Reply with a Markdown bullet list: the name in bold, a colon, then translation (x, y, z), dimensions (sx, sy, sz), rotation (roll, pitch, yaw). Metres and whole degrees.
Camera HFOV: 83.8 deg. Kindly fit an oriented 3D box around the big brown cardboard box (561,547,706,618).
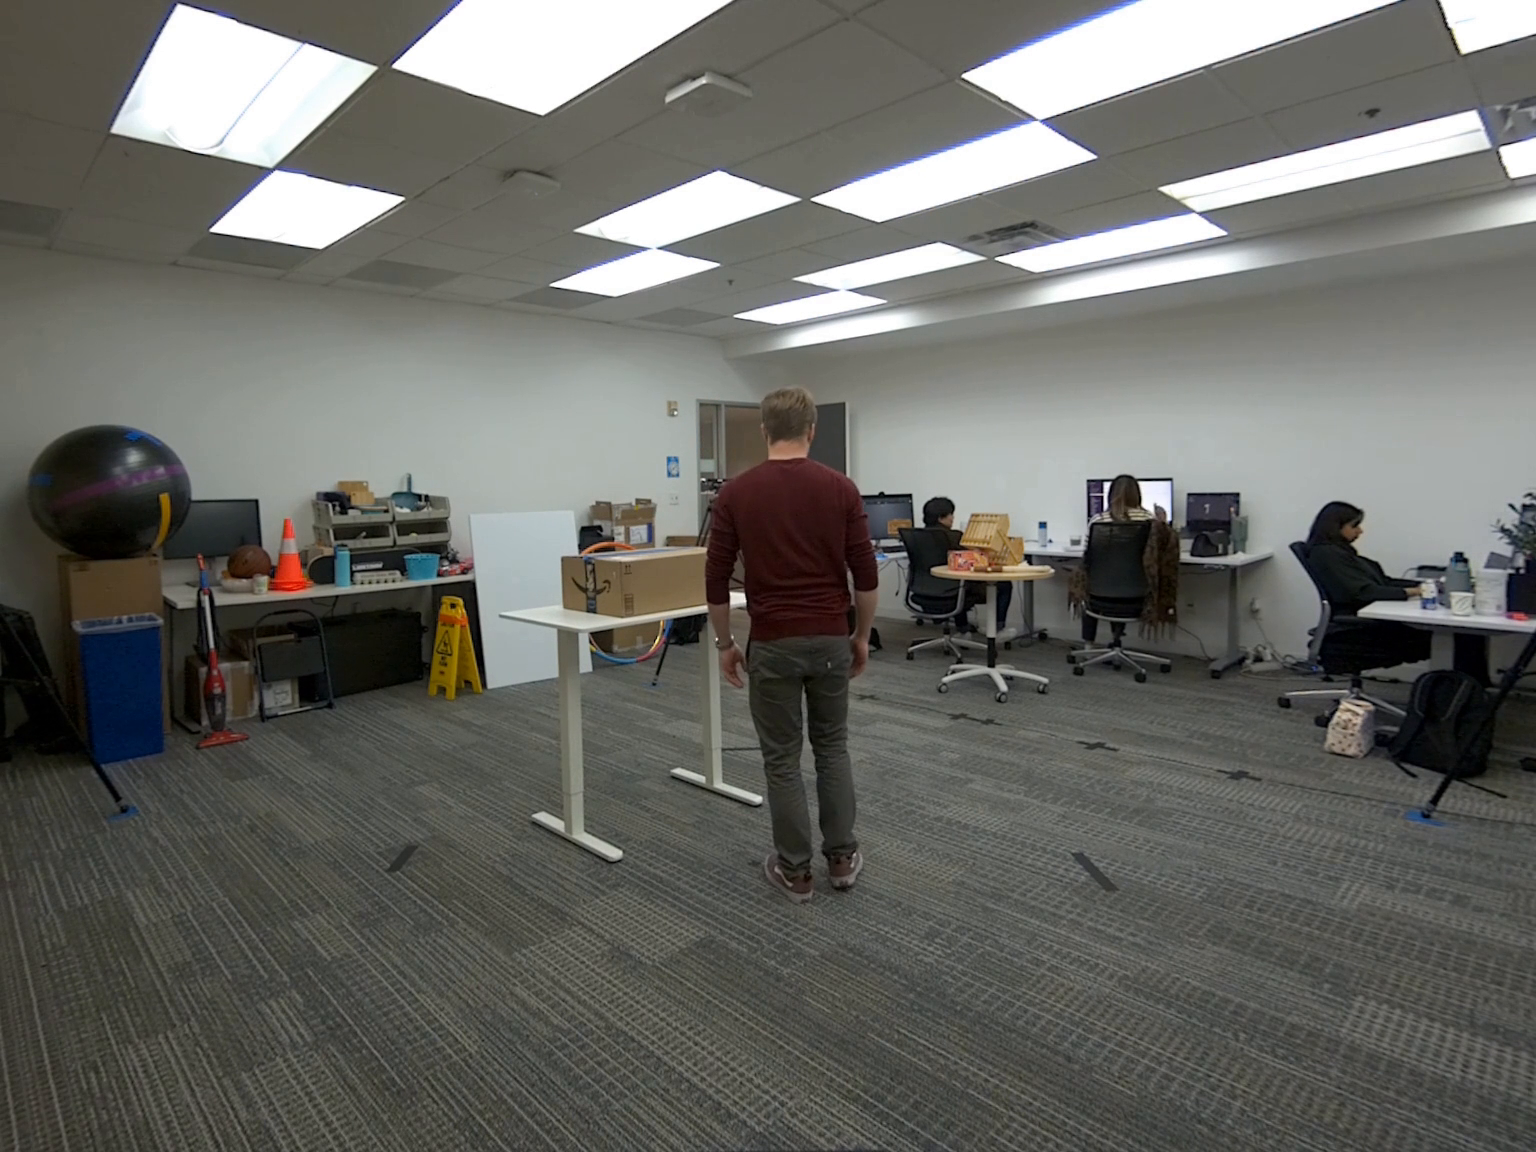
- **big brown cardboard box**: translation (-0.503, 0.012, 3.538), dimensions (0.573, 0.232, 0.430), rotation (-7, 7, -44)
